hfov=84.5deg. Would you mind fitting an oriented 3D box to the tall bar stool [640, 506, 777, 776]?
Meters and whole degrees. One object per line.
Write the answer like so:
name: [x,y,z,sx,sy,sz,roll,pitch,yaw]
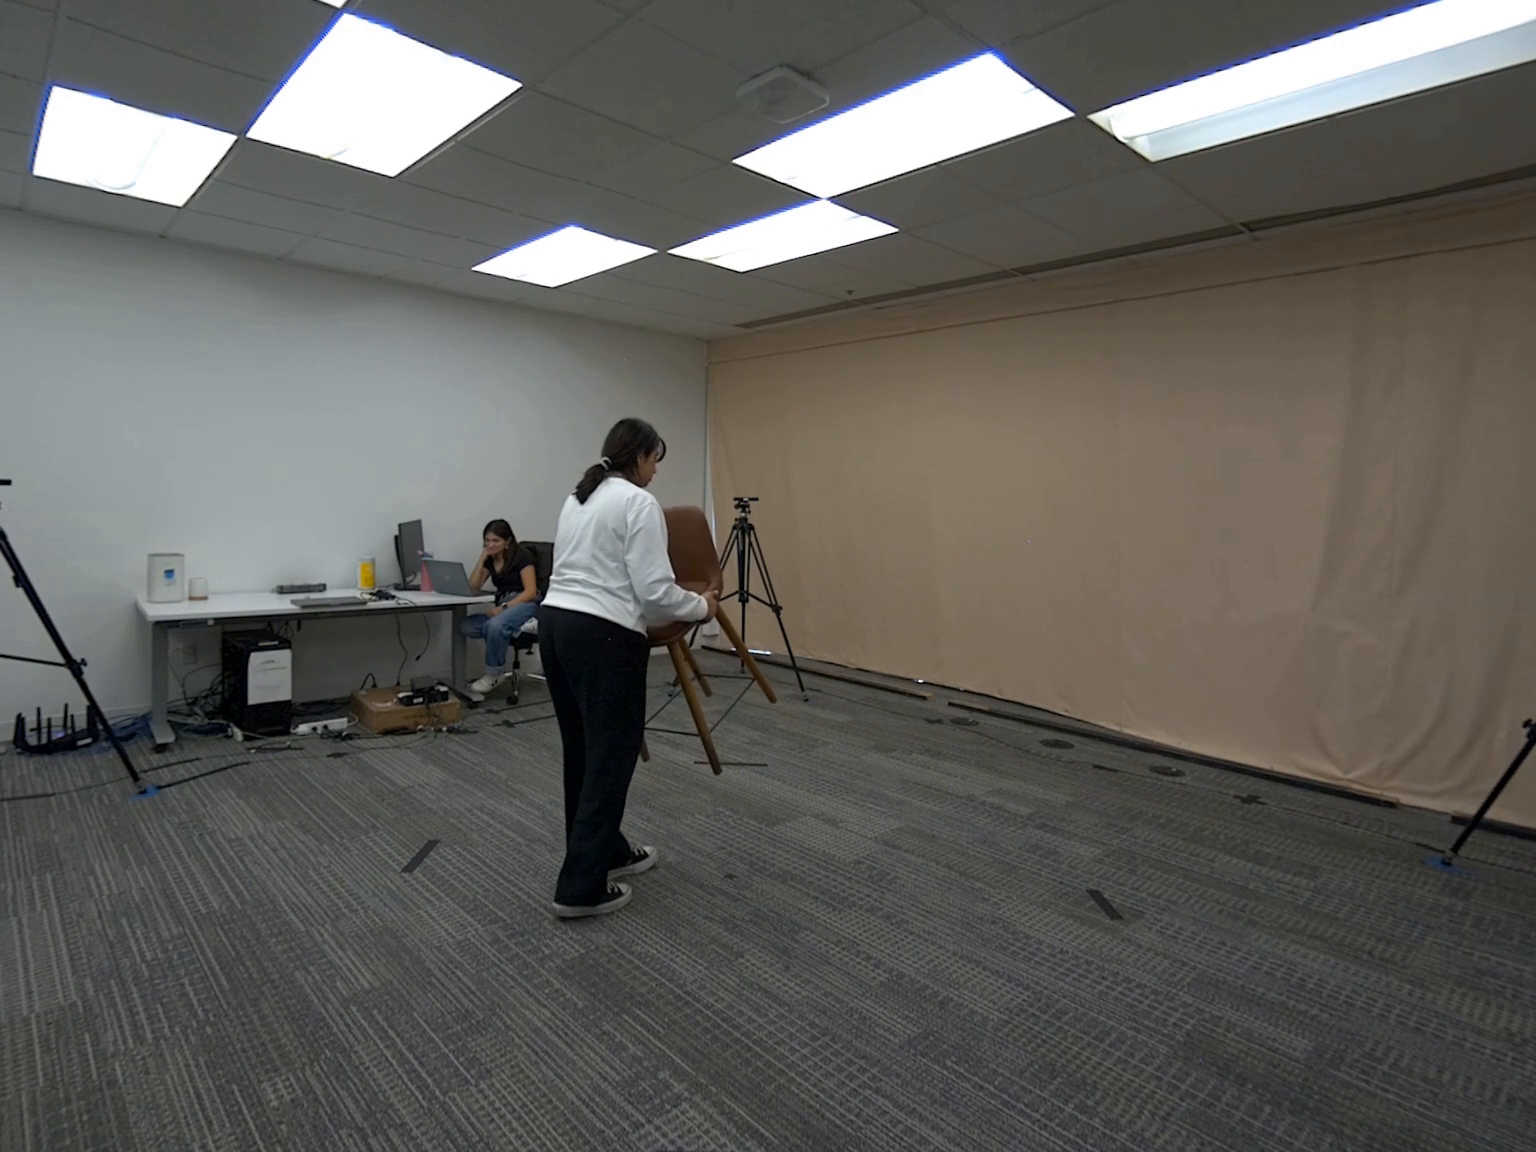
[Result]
tall bar stool: [-0.365,0.239,3.190,0.467,0.874,0.465,-2,26,39]
